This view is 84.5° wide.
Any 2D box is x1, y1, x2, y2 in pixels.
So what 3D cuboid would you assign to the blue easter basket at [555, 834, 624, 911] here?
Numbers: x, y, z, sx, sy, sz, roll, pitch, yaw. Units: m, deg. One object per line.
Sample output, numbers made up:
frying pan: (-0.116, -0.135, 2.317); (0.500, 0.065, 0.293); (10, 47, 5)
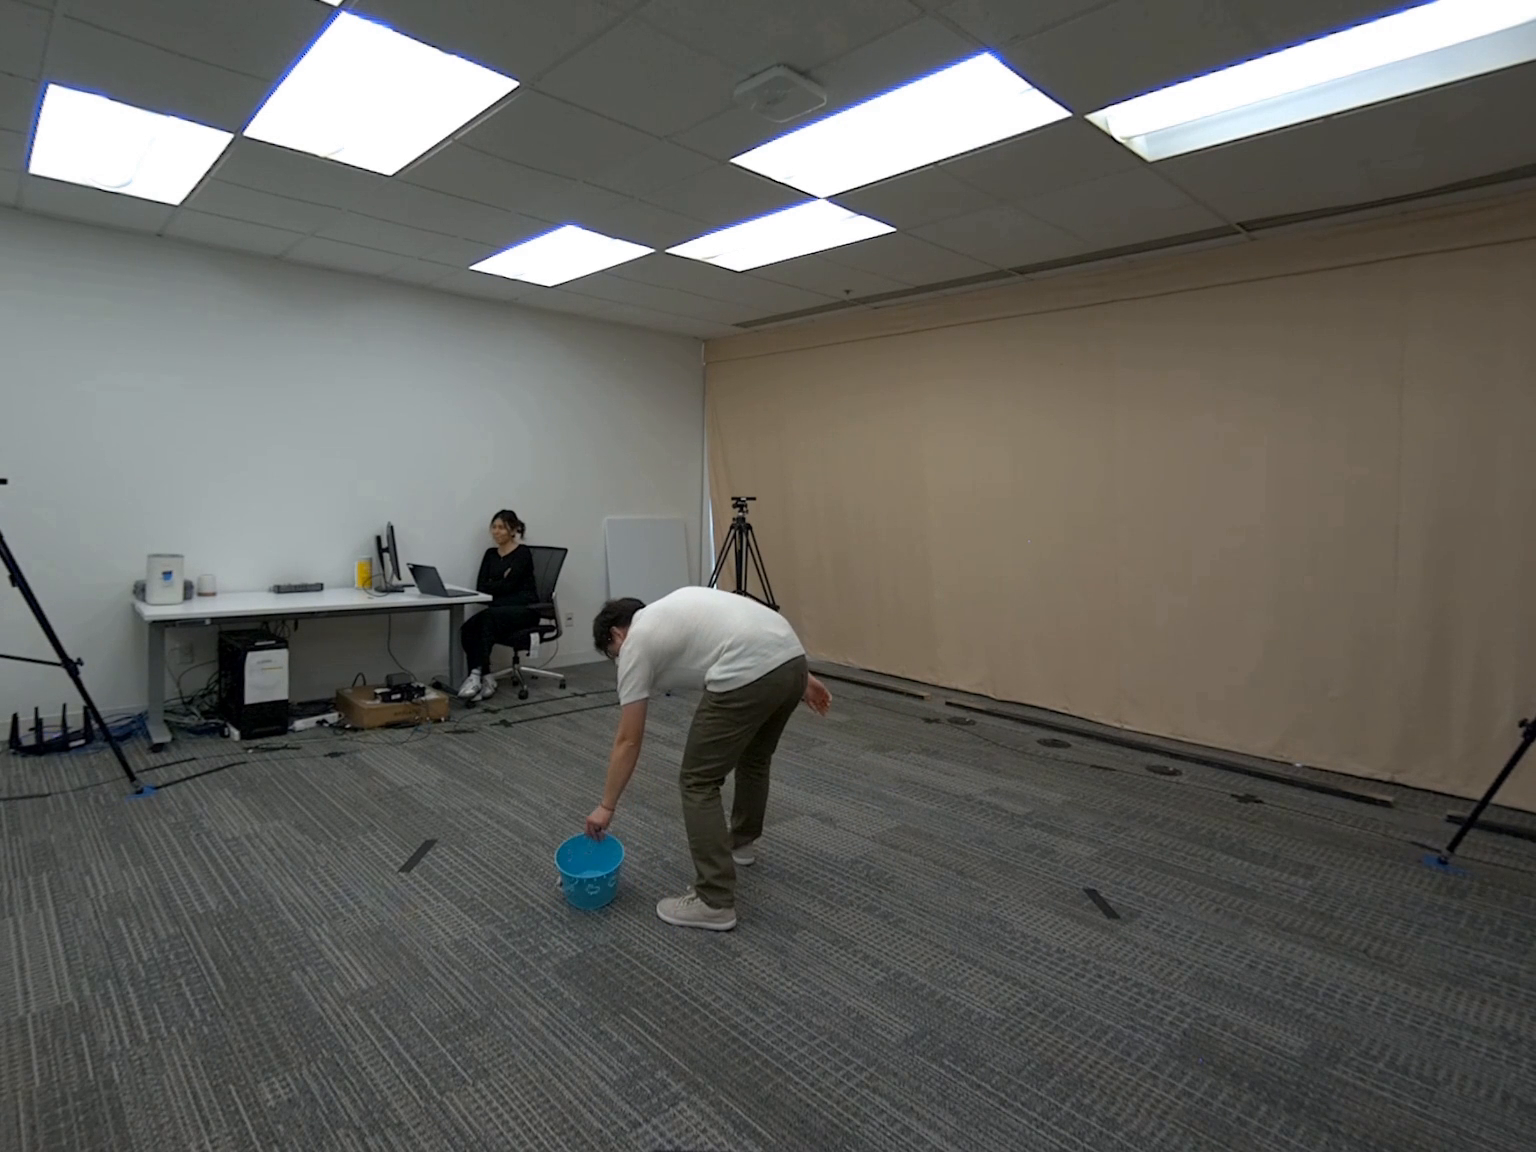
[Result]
blue easter basket: (-0.606, 1.022, 2.890); (0.243, 0.154, 0.247); (2, 21, -2)
